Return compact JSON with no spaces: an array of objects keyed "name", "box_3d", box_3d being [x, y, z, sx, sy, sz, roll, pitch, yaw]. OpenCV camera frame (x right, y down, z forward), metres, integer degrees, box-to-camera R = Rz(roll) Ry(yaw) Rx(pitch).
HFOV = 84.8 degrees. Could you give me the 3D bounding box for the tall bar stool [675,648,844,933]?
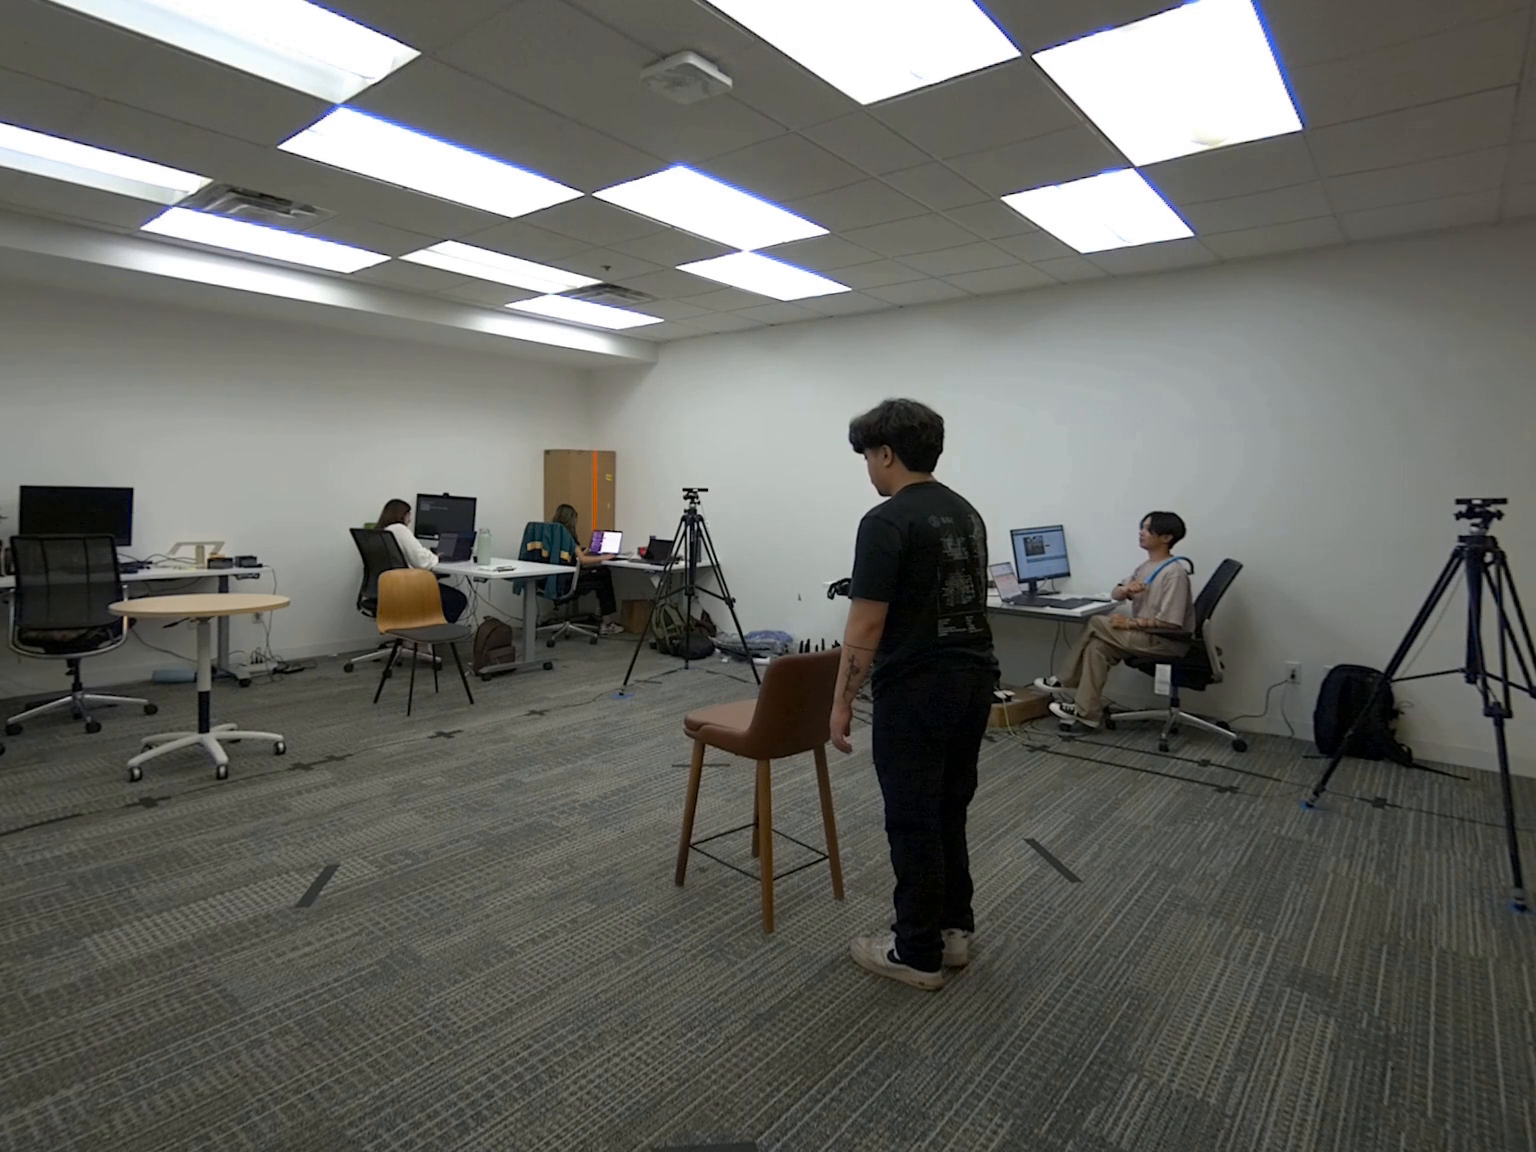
[{"name":"tall bar stool","box_3d":[-0.018,0.655,2.924,0.442,0.886,0.484,-1,6,-44]}]
